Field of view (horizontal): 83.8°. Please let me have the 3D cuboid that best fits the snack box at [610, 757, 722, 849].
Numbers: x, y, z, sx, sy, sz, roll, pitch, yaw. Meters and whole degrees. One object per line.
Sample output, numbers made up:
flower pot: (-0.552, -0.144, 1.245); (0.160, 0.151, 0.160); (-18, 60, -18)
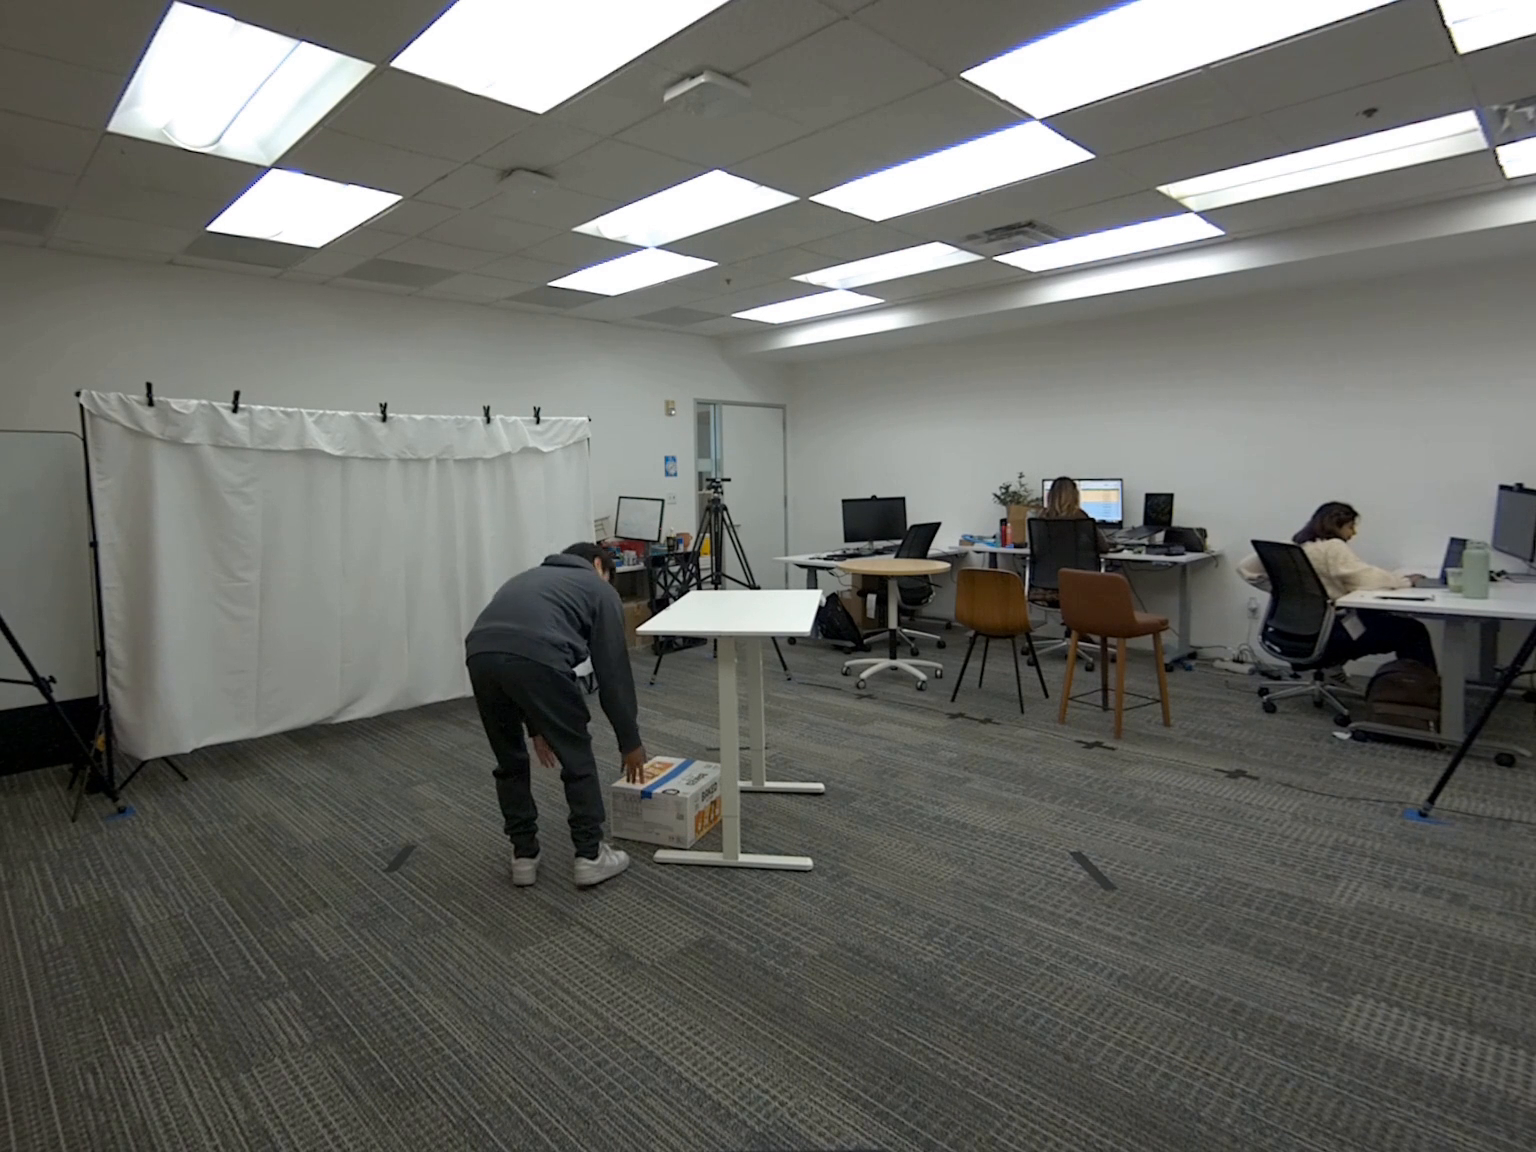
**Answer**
snack box: (-0.389, 0.905, 3.460); (0.347, 0.205, 0.398); (1, 6, 22)
